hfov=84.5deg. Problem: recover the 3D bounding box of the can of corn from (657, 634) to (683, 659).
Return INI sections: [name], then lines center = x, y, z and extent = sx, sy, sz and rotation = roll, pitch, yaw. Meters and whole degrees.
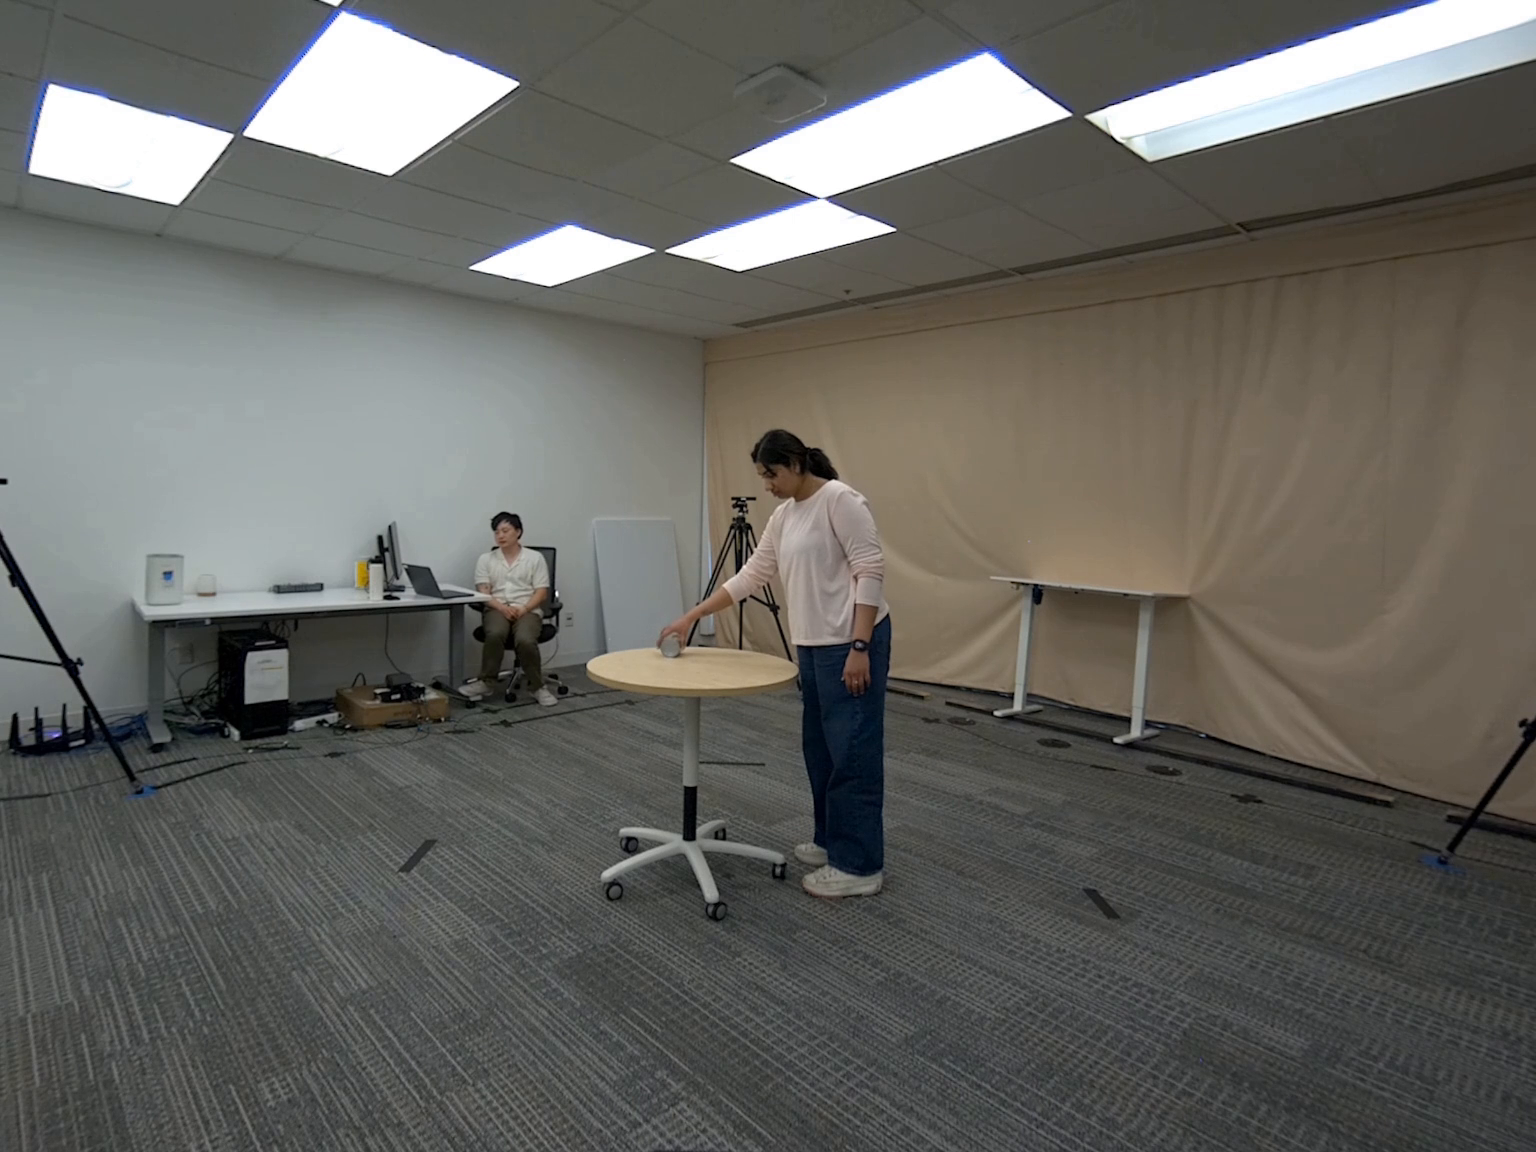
[can of corn]
center = -0.370, 0.266, 3.242
extent = 0.074, 0.074, 0.111
rotation = 2, 4, 4
